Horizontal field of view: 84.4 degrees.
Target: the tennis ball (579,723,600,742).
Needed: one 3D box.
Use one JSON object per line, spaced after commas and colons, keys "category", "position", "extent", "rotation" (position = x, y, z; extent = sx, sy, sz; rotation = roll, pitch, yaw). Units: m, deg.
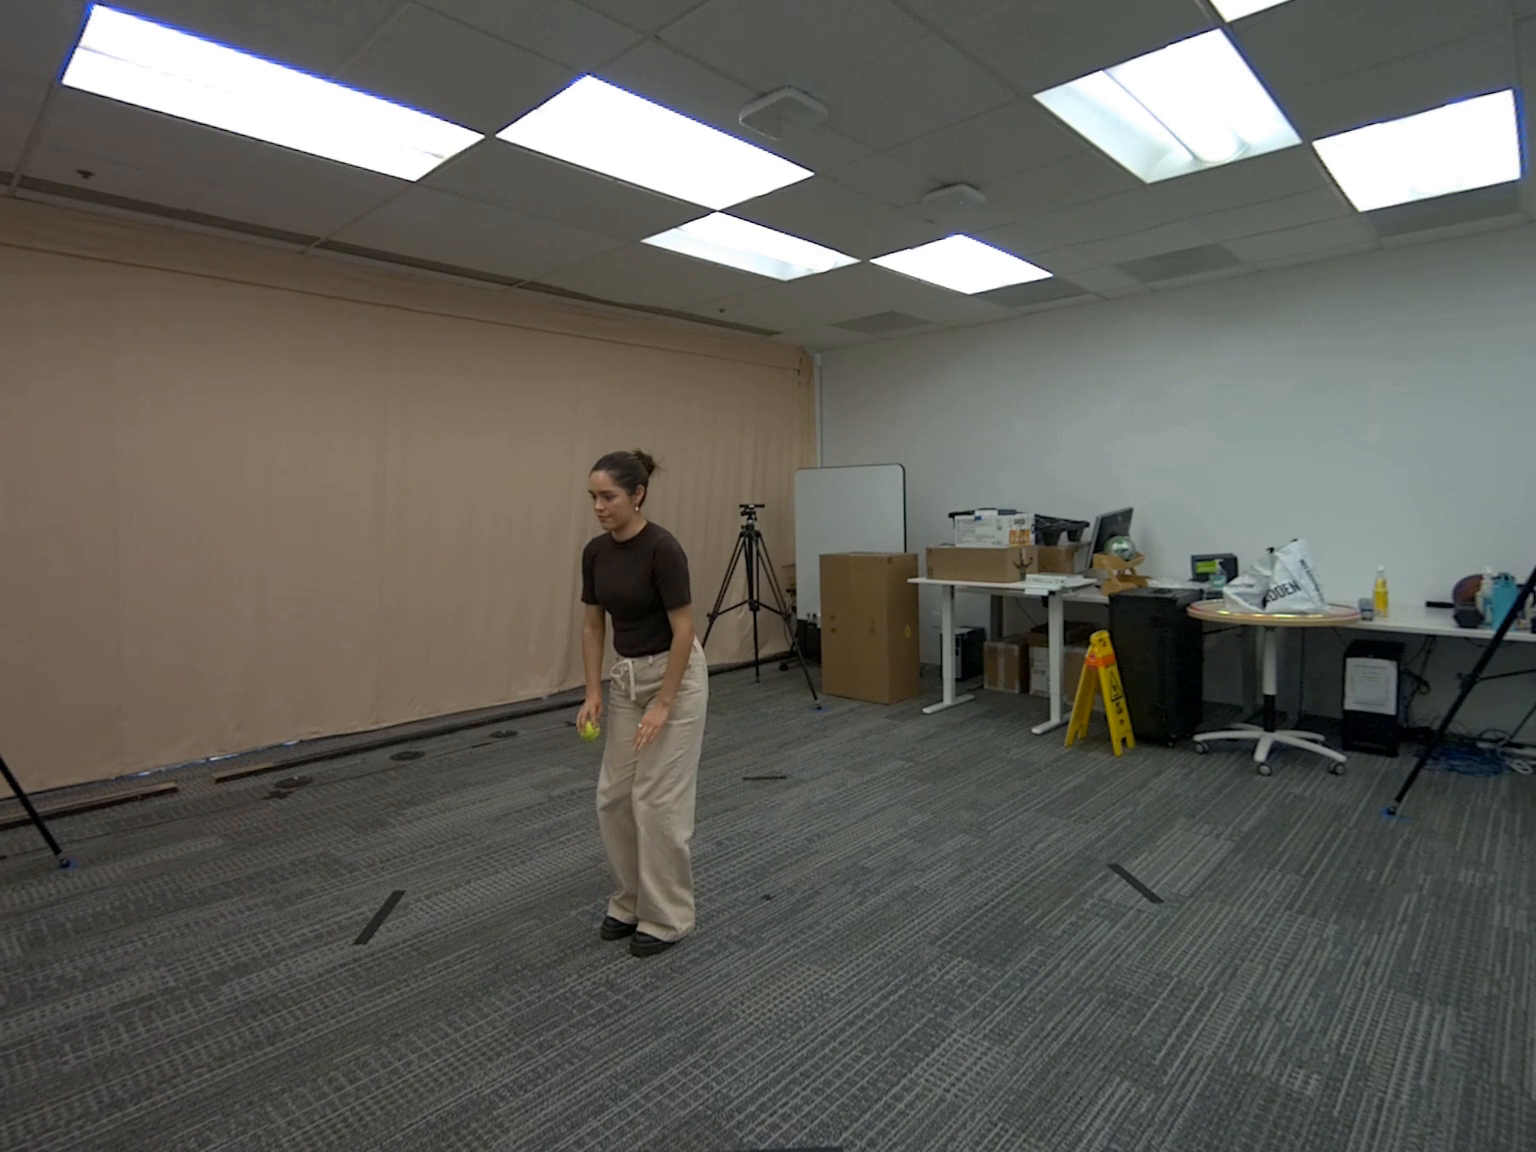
{"category": "tennis ball", "position": [-0.574, 0.506, 2.720], "extent": [0.066, 0.066, 0.067], "rotation": [-1, 4, -2]}
